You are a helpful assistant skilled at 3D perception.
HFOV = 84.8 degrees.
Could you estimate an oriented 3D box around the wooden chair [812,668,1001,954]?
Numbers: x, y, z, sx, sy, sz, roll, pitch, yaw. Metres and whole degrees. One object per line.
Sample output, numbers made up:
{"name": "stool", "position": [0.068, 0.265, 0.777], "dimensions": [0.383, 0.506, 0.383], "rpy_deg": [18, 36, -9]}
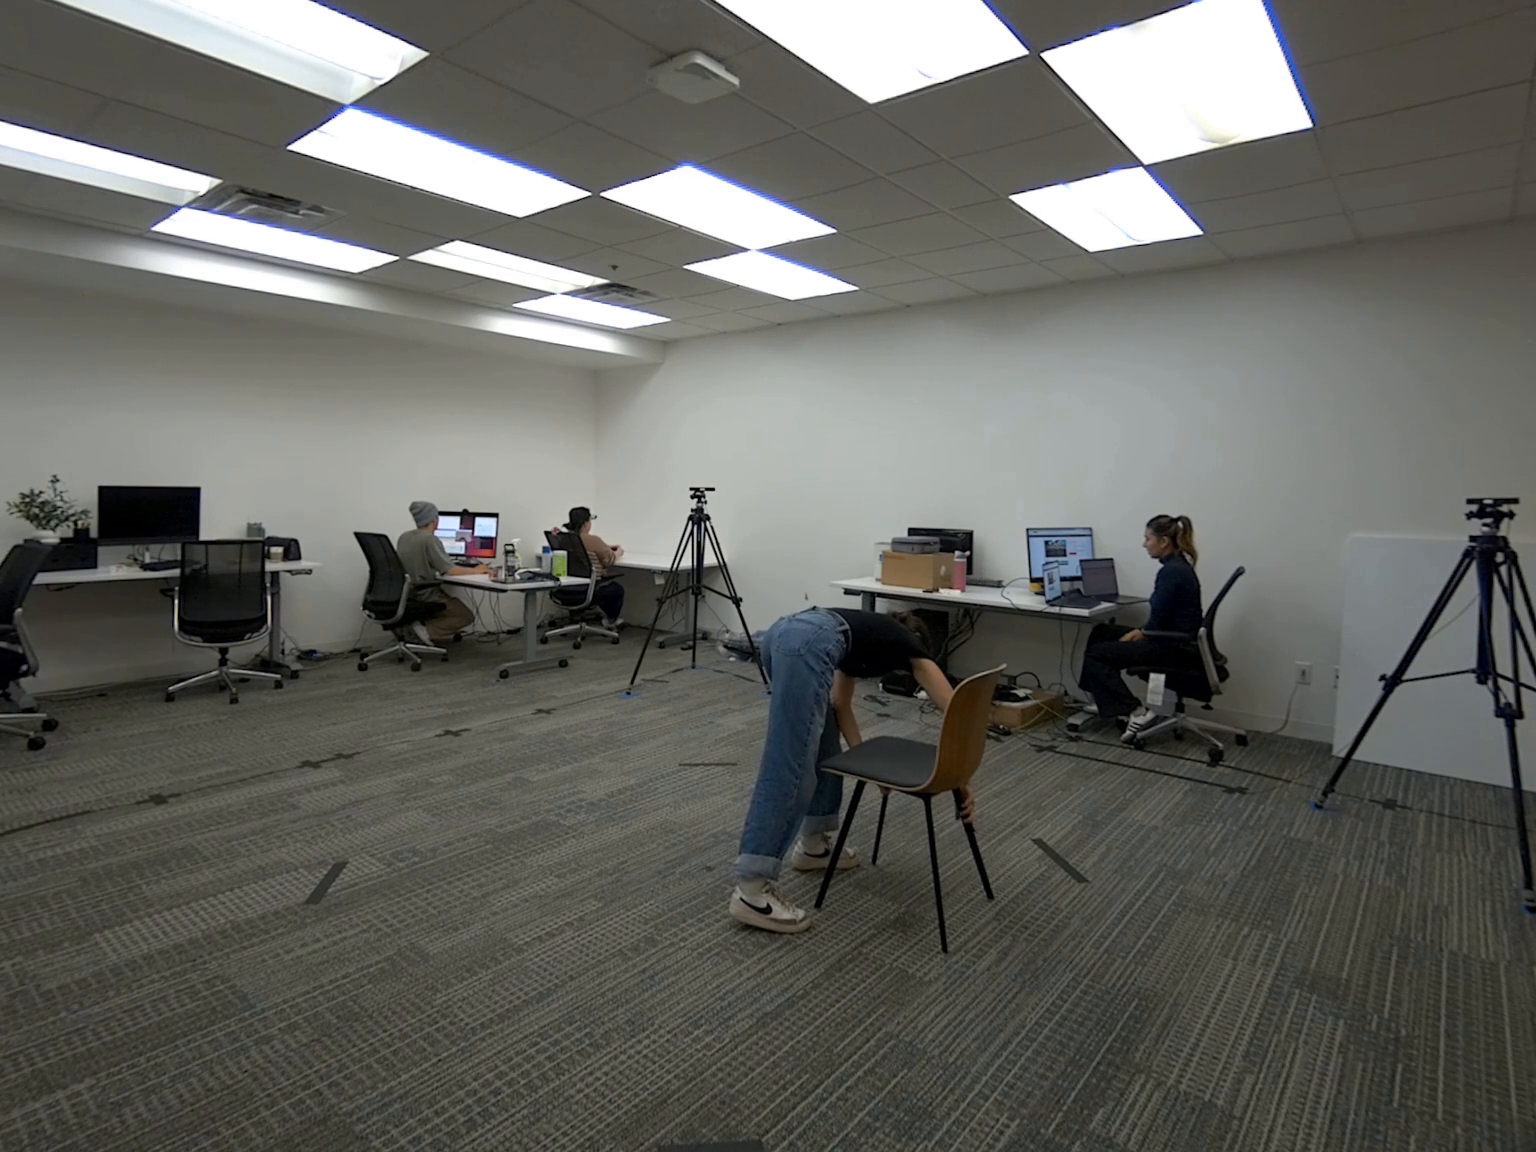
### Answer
{"name": "wooden chair", "position": [0.461, 0.675, 2.855], "dimensions": [0.541, 0.873, 0.465], "rpy_deg": [9, 7, 33]}
